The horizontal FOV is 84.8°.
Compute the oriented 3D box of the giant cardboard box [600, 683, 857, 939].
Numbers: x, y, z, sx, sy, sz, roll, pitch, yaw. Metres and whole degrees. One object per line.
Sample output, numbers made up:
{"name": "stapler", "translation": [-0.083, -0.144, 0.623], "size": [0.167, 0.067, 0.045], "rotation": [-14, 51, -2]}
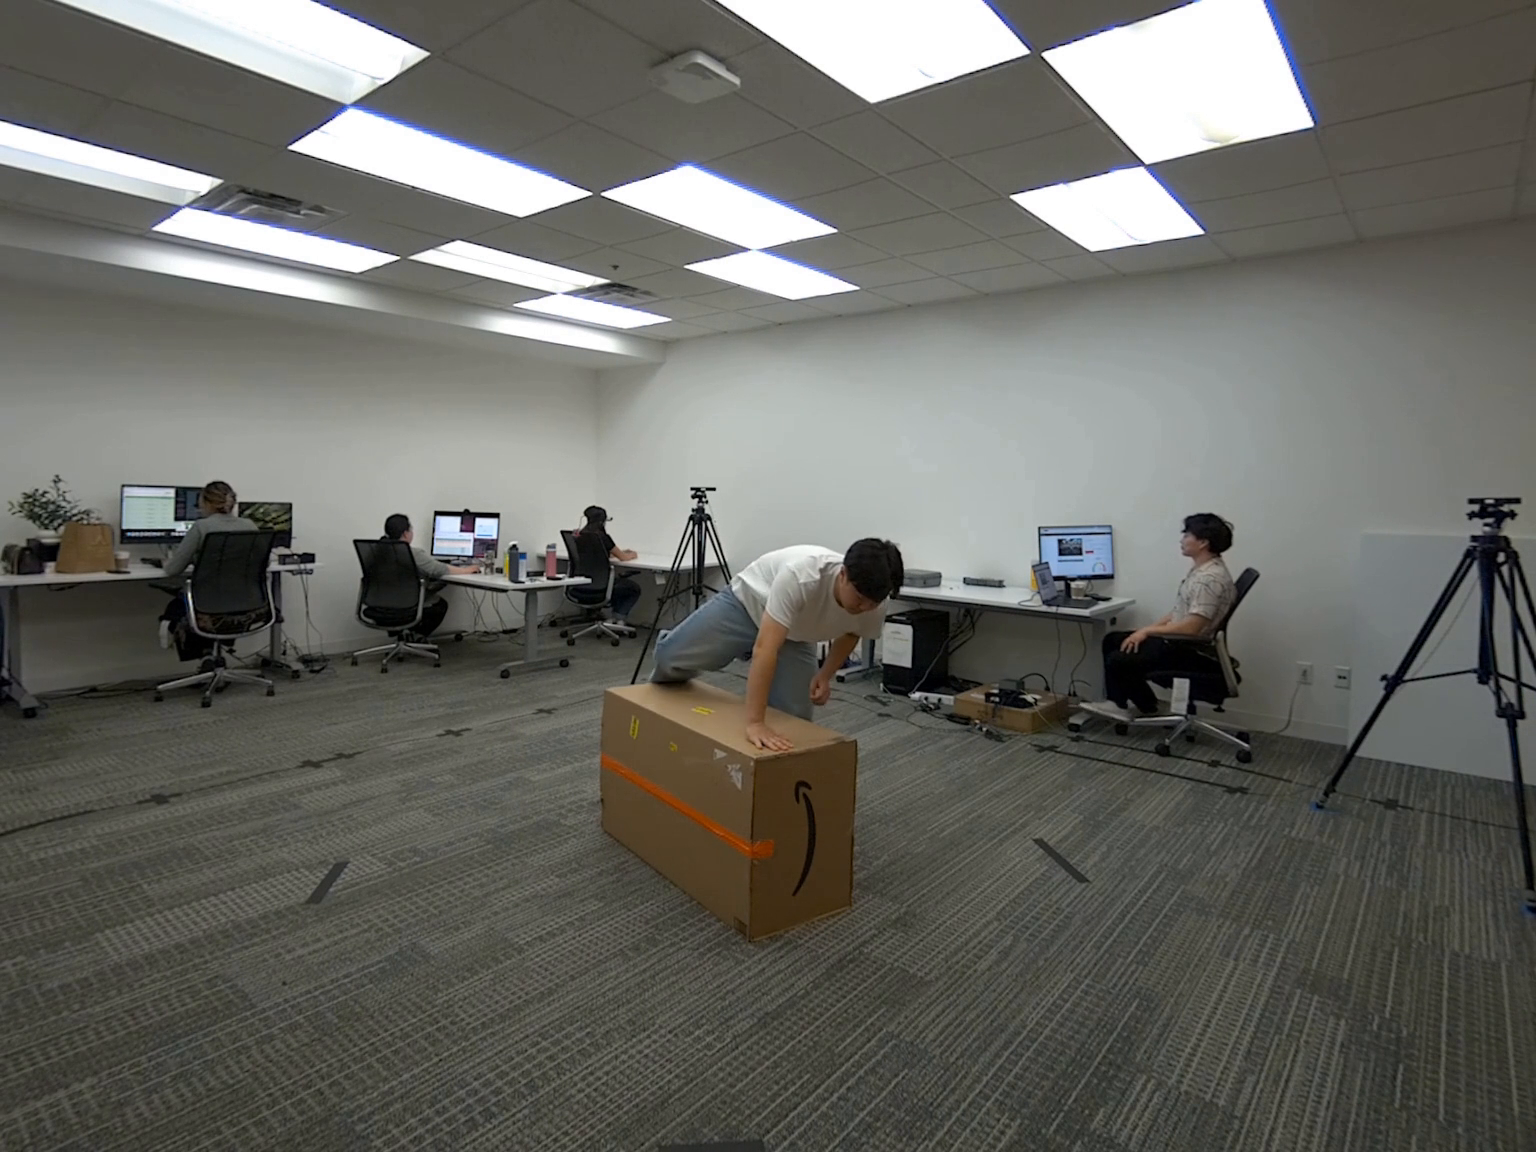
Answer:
{"name": "giant cardboard box", "translation": [-0.203, 0.778, 3.118], "size": [0.414, 0.576, 1.060], "rotation": [0, 5, -36]}
